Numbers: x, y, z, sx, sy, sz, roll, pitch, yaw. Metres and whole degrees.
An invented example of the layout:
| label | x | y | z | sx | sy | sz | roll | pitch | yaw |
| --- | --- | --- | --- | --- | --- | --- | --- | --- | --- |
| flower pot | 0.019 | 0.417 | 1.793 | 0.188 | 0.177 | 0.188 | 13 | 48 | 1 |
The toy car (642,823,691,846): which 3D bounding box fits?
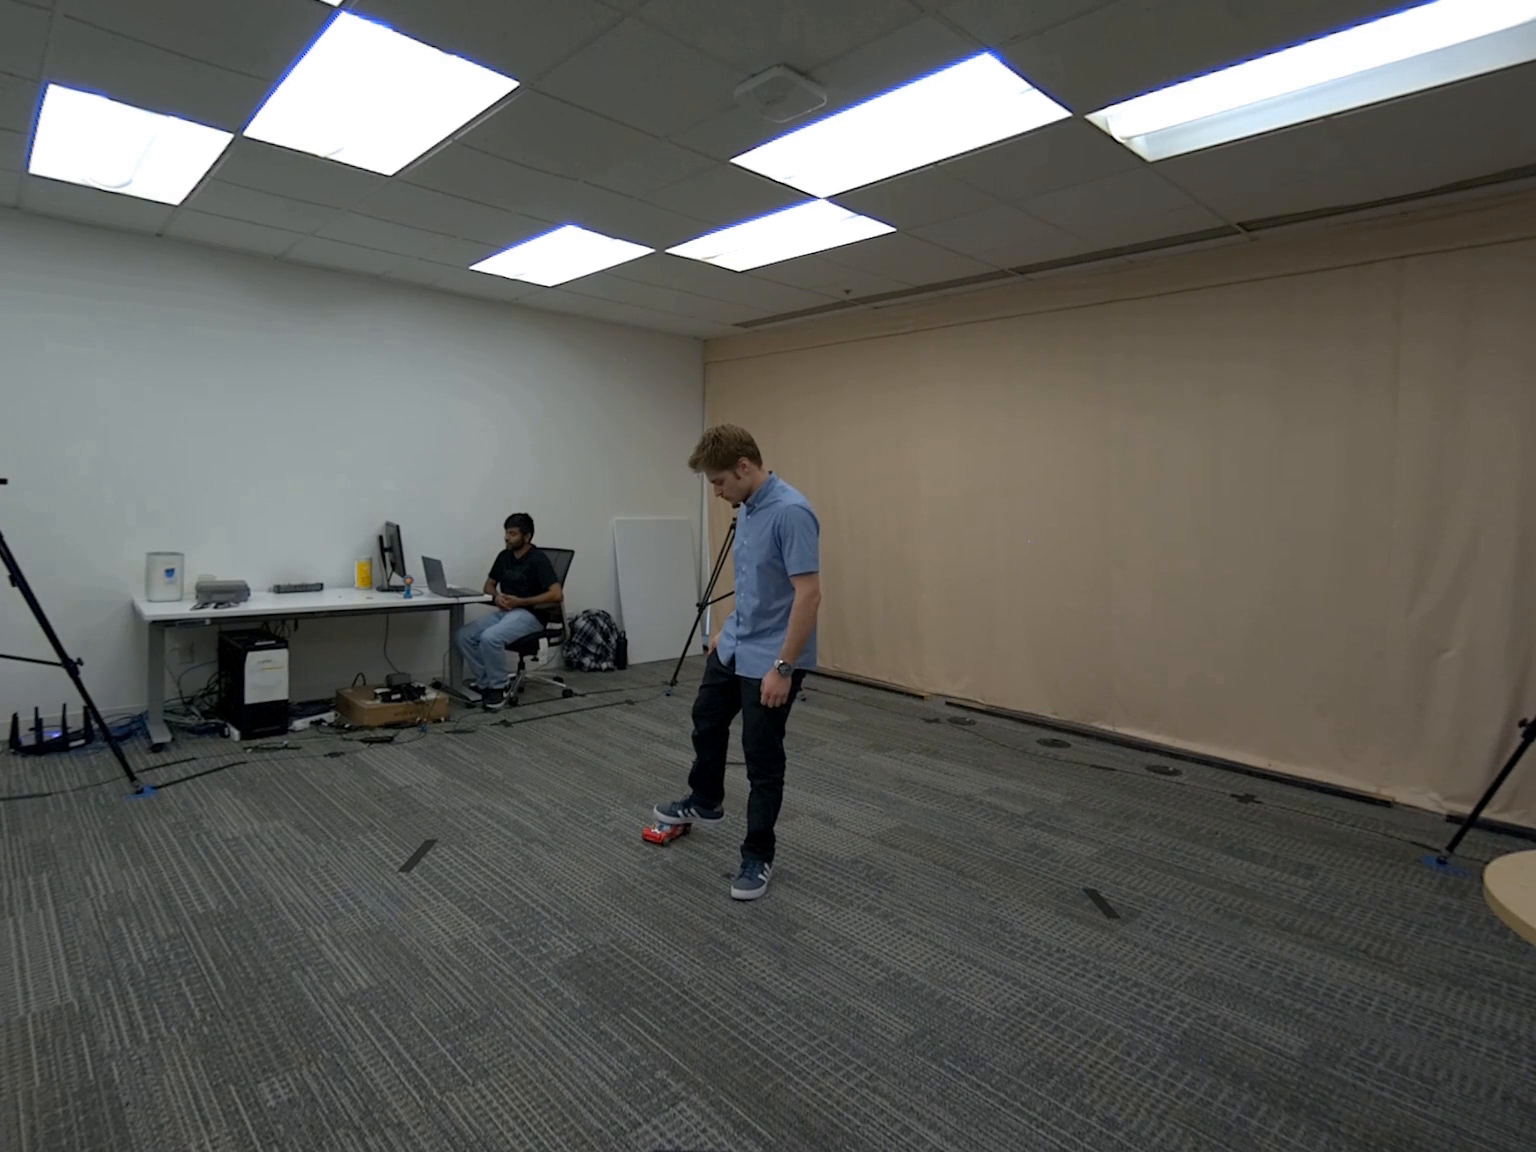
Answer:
| label | x | y | z | sx | sy | sz | roll | pitch | yaw |
| --- | --- | --- | --- | --- | --- | --- | --- | --- | --- |
| toy car | -0.409 | 1.037 | 3.465 | 0.133 | 0.082 | 0.251 | 4 | 17 | 32 |
